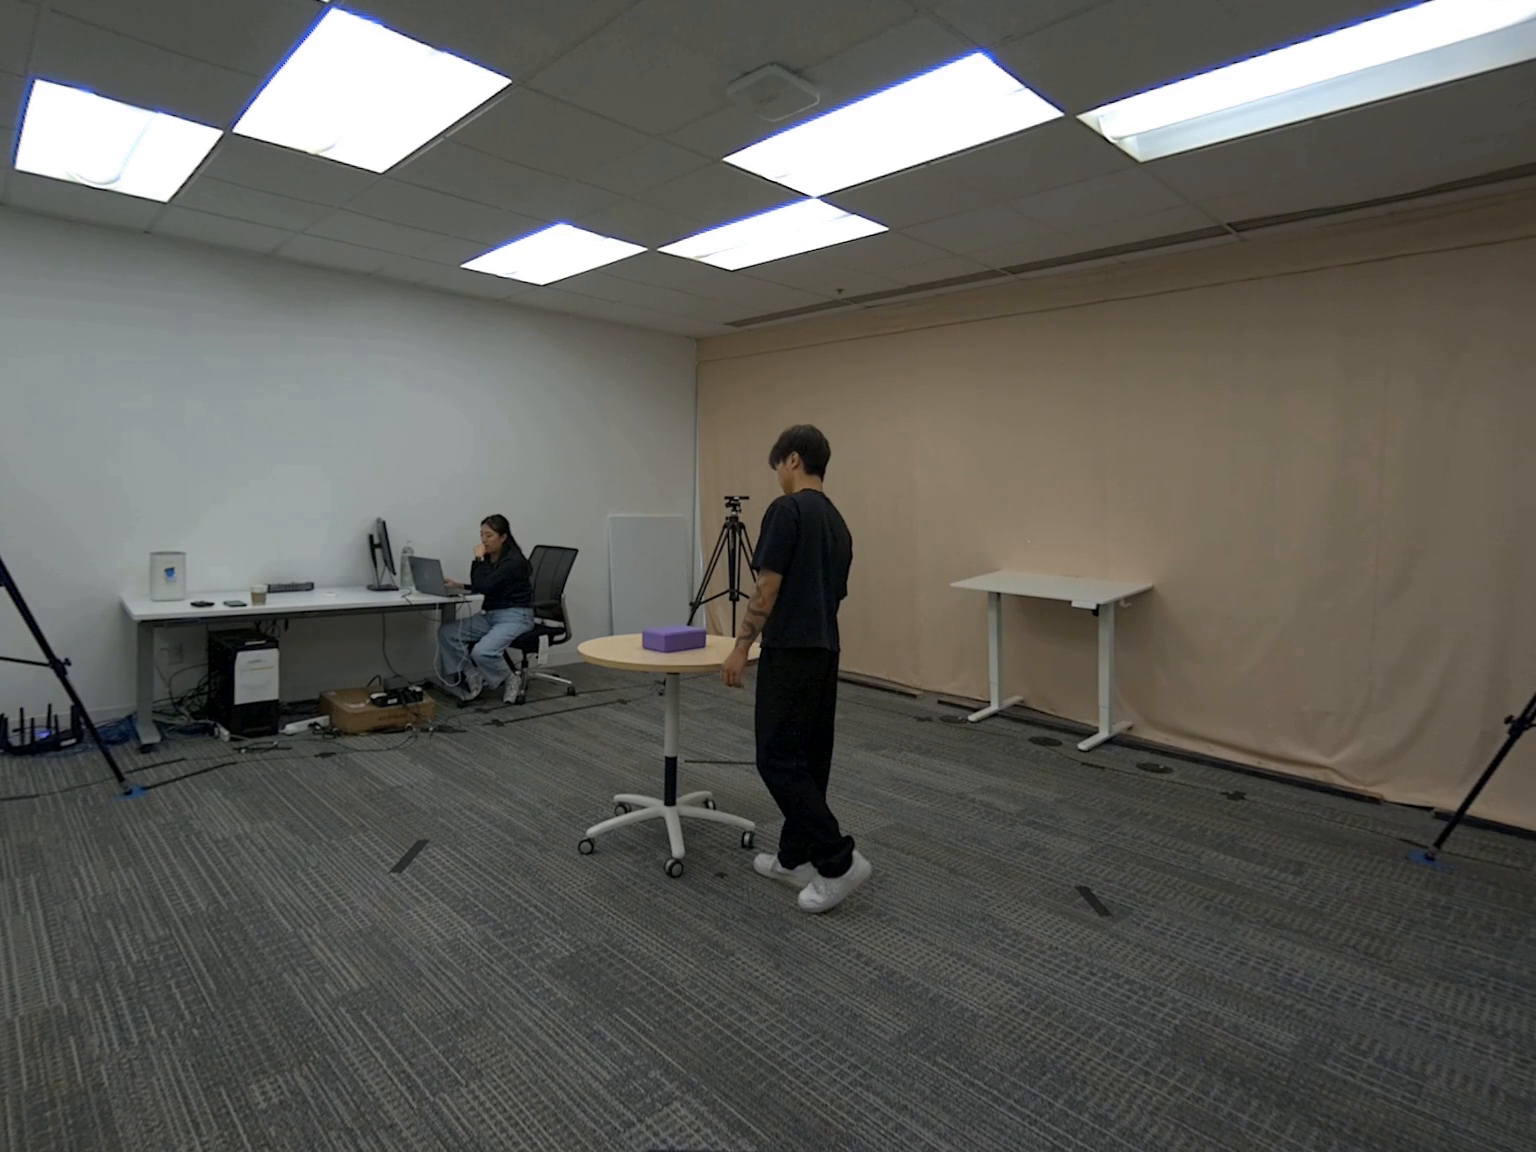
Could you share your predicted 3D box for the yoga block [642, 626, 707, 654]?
[{"bbox_3d":[-0.385,0.252,3.382,0.153,0.076,0.224,5,6,42],"label":"yoga block"}]
